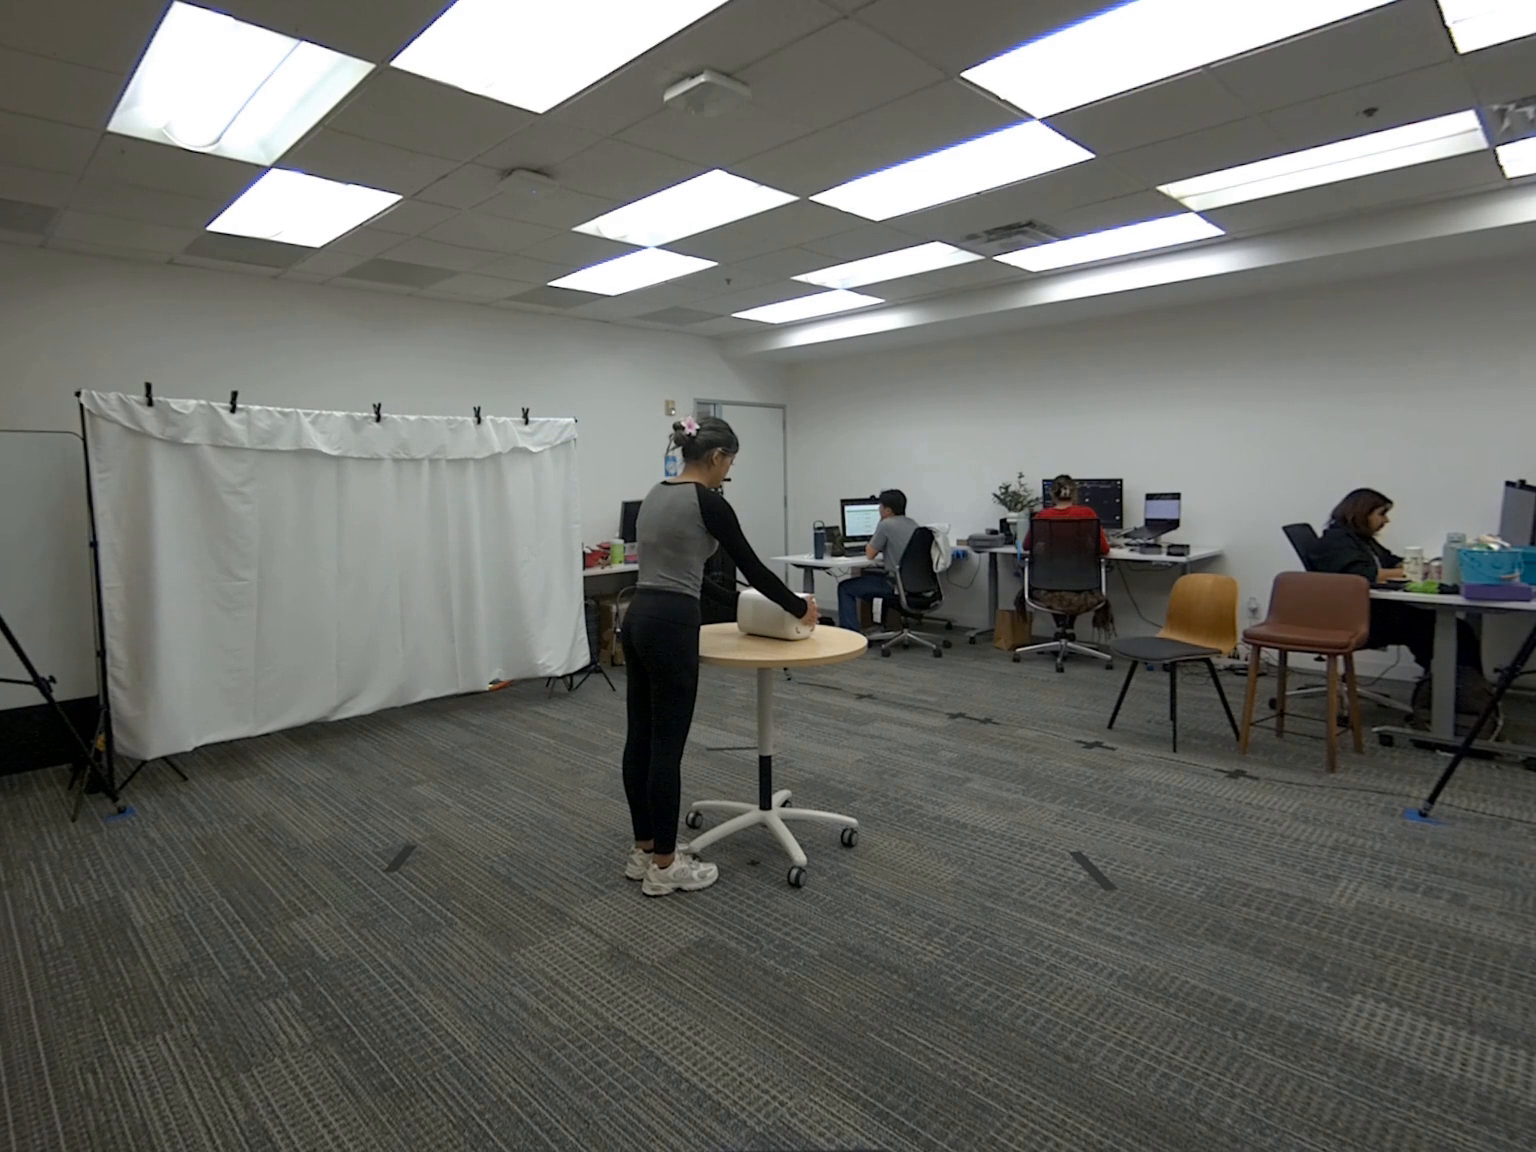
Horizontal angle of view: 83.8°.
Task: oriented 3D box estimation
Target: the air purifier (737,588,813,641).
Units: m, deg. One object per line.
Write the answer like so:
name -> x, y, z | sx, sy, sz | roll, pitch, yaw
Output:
air purifier -> 0.038, 0.142, 3.260 | 0.273, 0.171, 0.166 | 4, 4, 41
